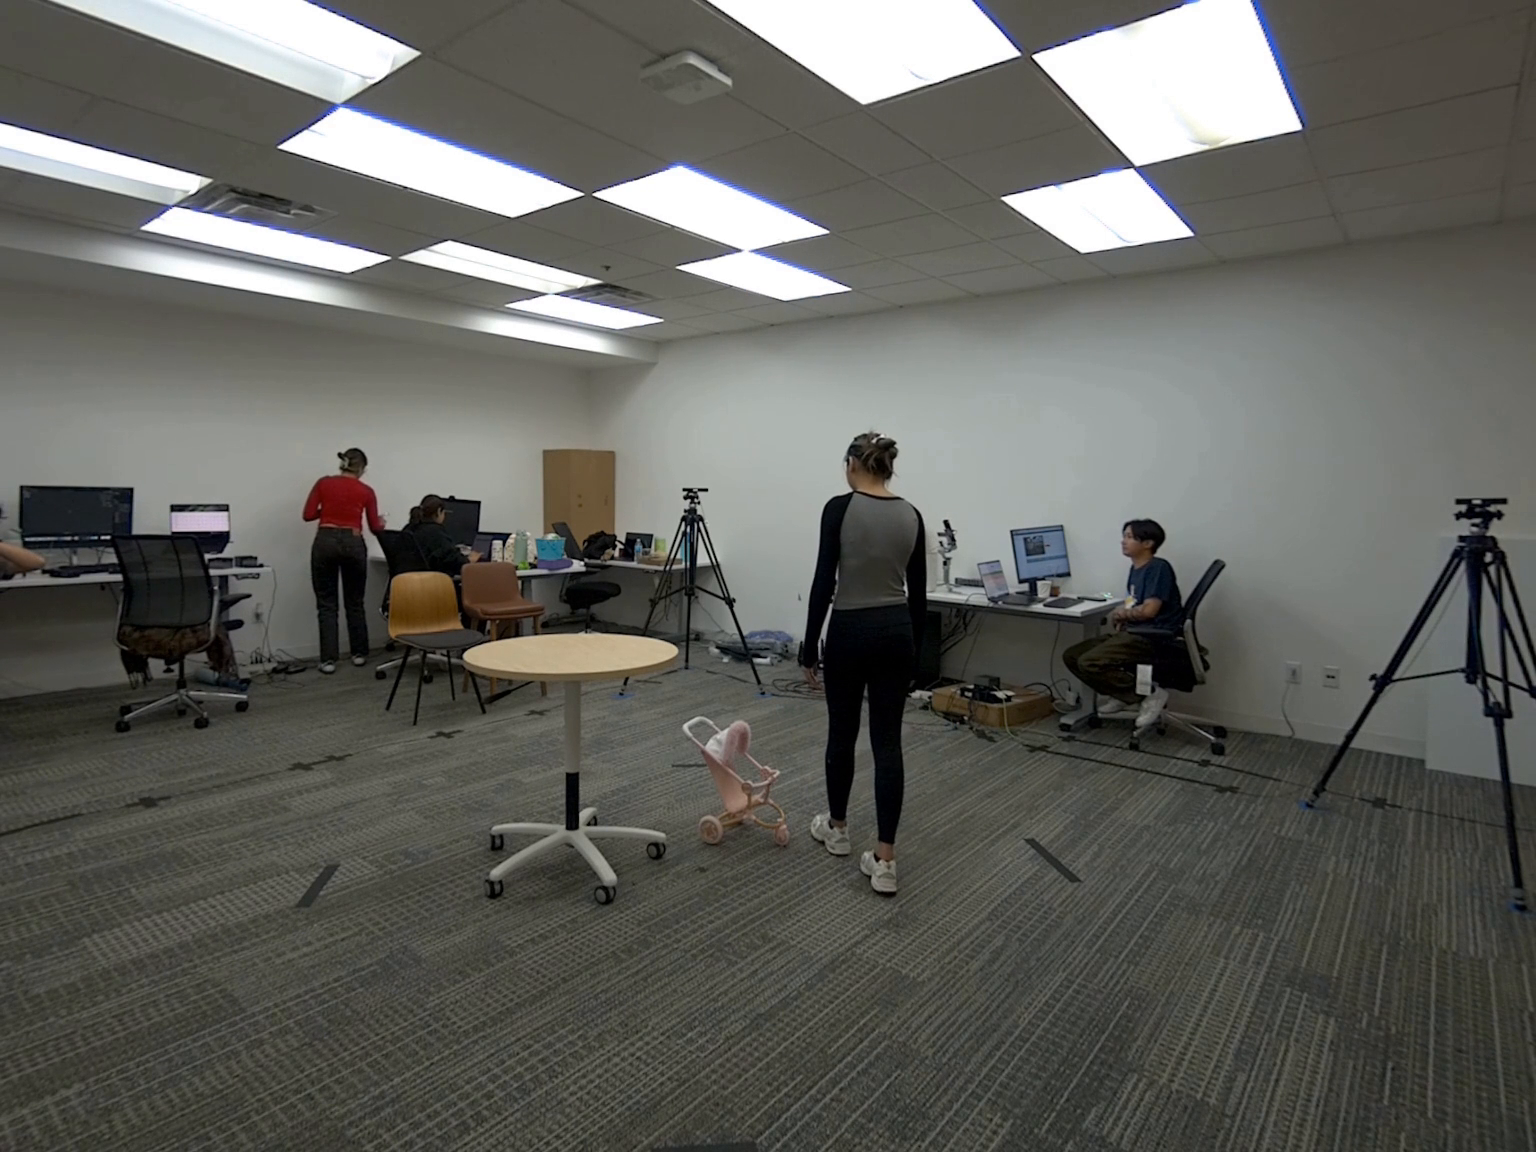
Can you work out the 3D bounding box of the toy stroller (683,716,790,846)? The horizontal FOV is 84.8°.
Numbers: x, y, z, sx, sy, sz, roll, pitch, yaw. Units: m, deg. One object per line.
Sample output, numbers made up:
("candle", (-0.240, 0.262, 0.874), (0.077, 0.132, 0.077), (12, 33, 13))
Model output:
("toy stroller", (-0.124, 0.817, 3.408), (0.348, 0.537, 0.275), (-14, -3, 28))
